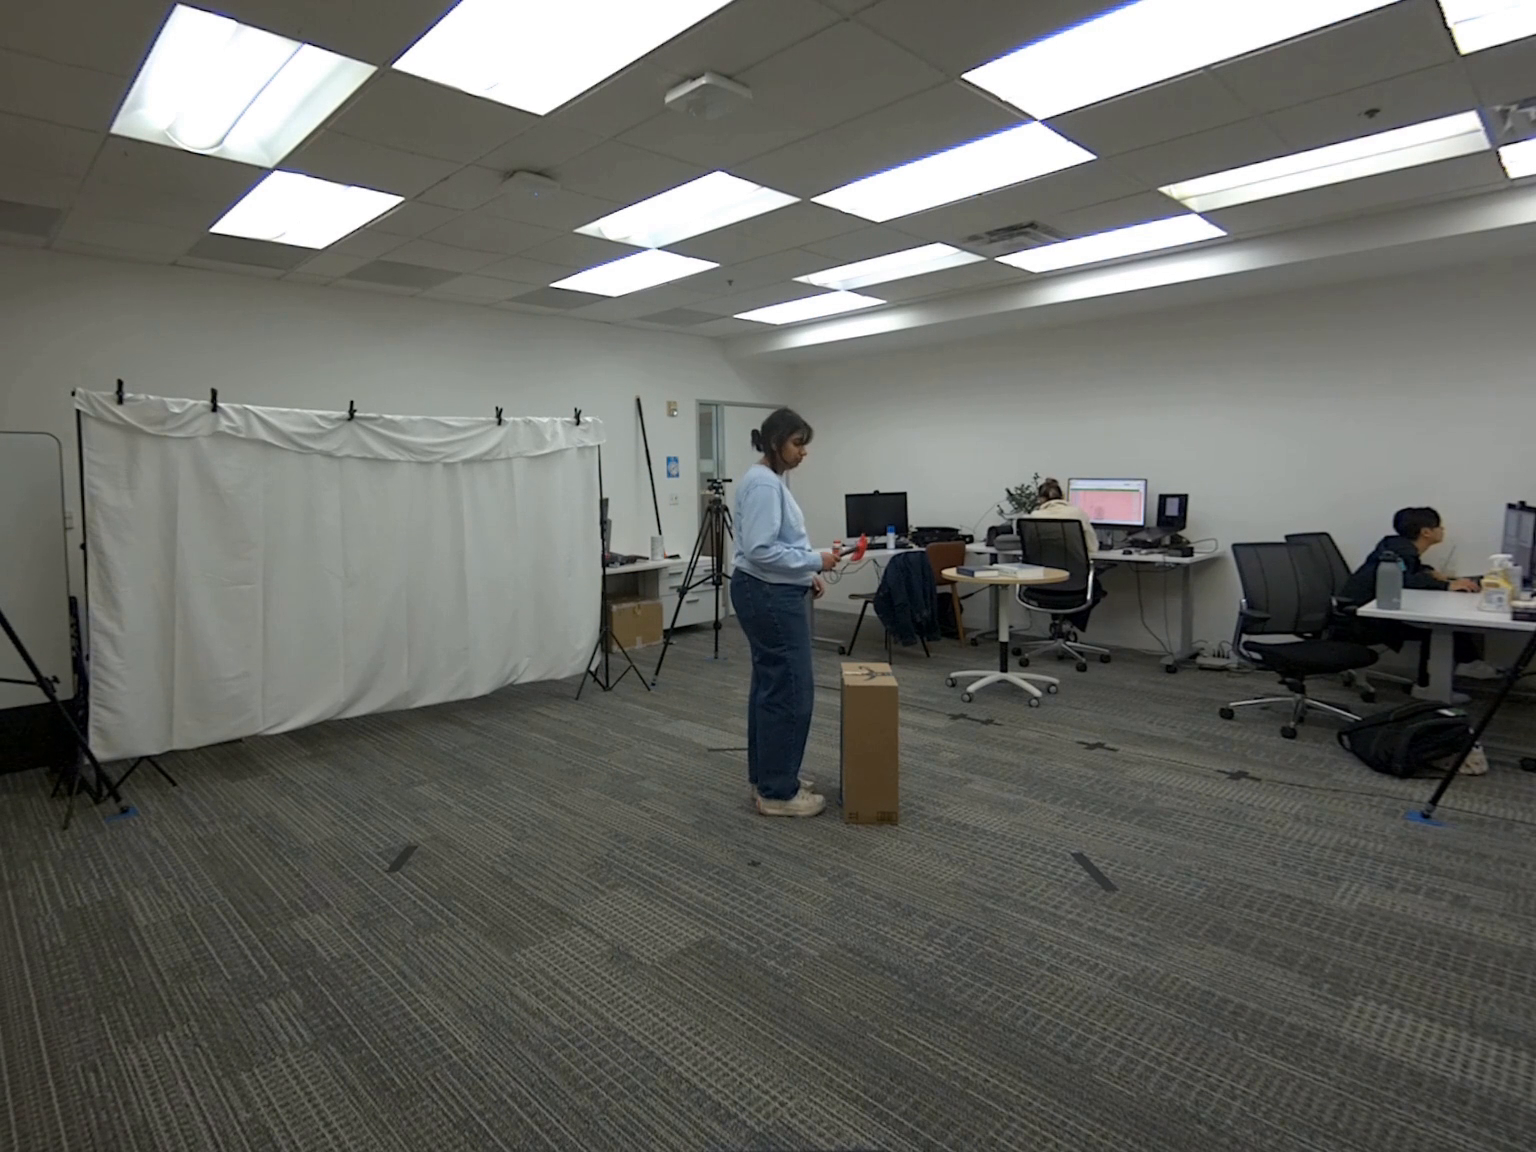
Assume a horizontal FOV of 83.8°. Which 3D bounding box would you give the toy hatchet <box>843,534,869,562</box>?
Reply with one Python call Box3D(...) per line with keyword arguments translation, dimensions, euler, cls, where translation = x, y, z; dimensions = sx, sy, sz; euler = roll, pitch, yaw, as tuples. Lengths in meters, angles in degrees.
Box3D(translation=(0.308, -0.065, 3.602), dimensions=(0.269, 0.126, 0.031), euler=(-34, 46, -11), cls="toy hatchet")
